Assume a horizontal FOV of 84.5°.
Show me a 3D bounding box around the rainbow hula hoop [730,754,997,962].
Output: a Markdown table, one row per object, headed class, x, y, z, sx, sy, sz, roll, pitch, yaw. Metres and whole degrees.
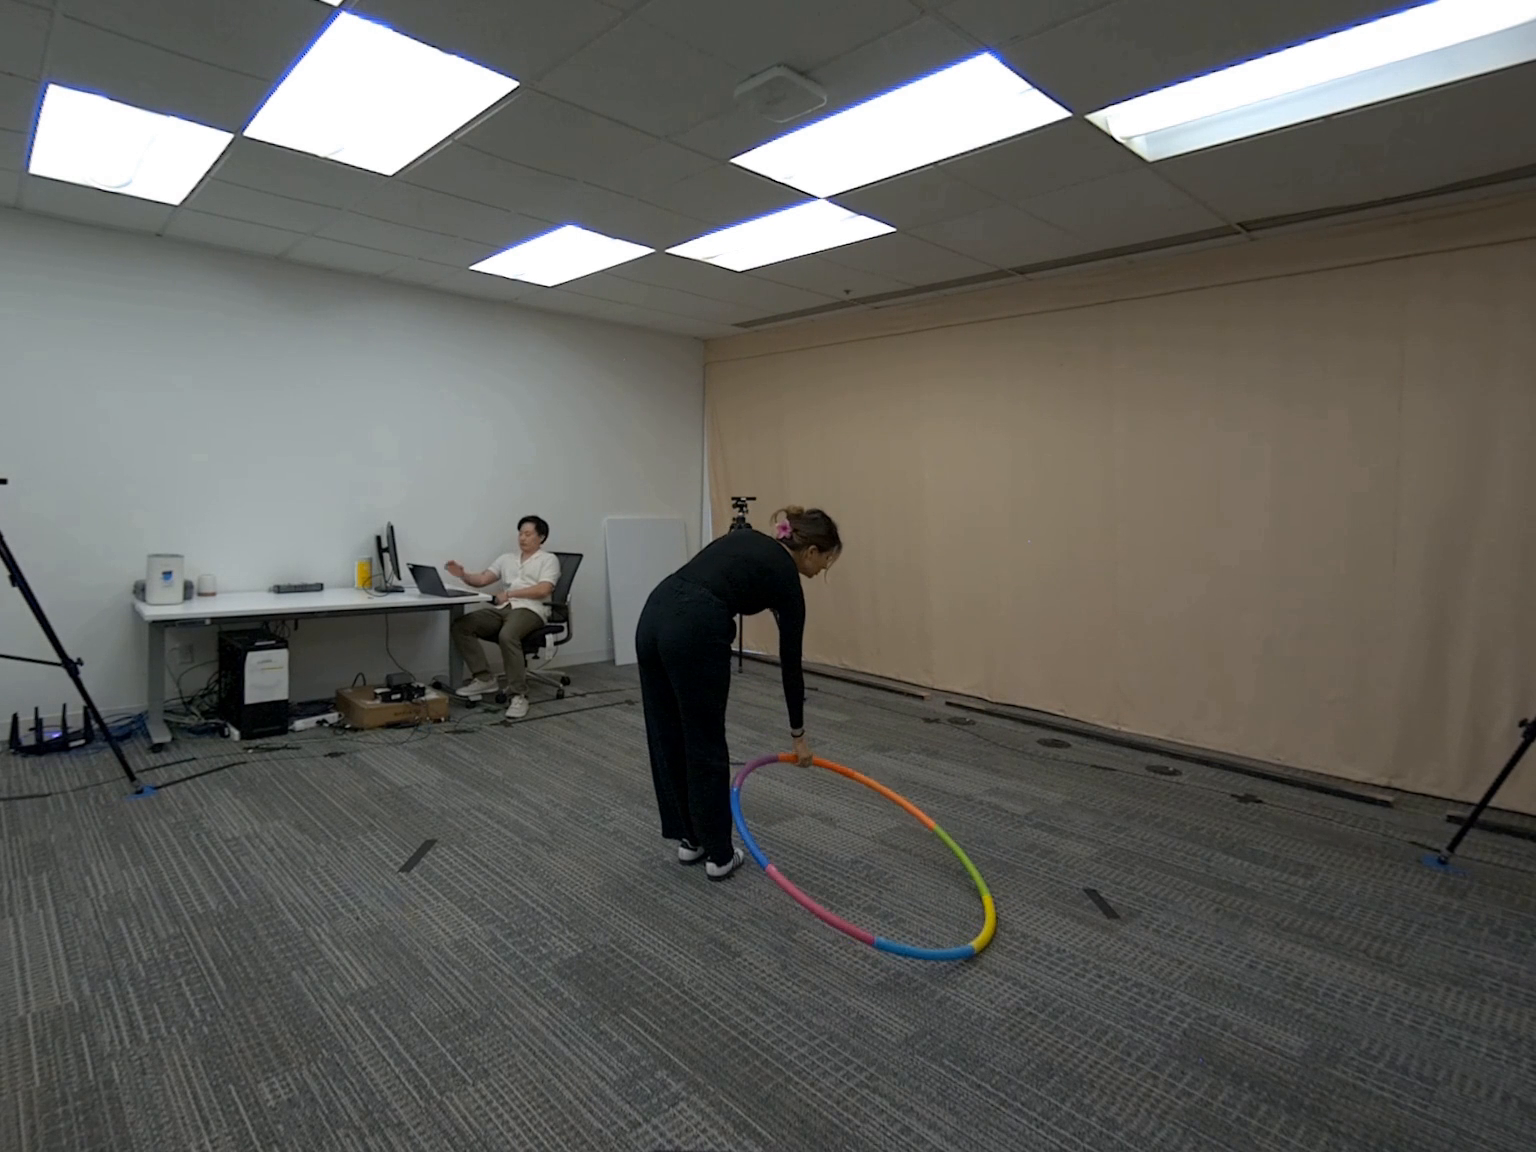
| class | x | y | z | sx | sy | sz | roll | pitch | yaw |
| --- | --- | --- | --- | --- | --- | --- | --- | --- | --- |
| rainbow hula hoop | 0.325 | 0.932 | 2.900 | 0.978 | 0.051 | 0.998 | 21 | 16 | -8 |
